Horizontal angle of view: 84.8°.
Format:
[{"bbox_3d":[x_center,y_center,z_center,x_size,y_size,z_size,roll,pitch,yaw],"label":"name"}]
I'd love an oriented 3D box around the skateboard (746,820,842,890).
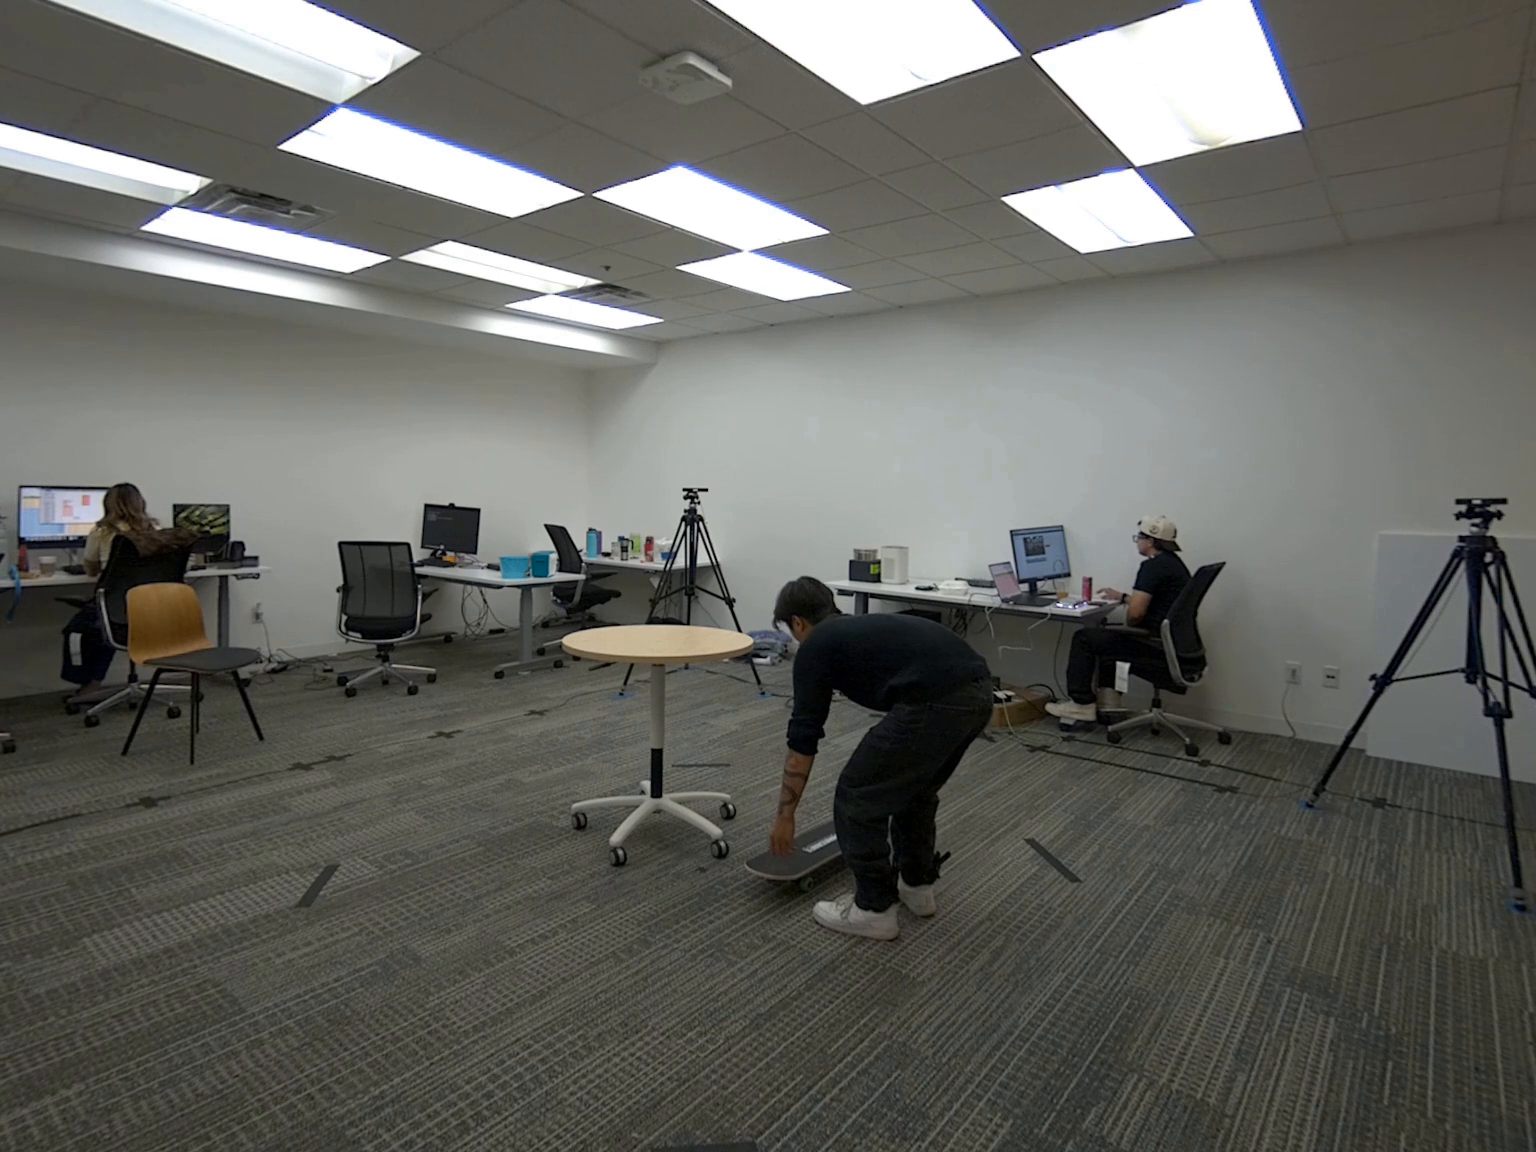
[{"bbox_3d":[0.200,1.021,3.157,0.200,0.110,0.762,6,8,41],"label":"skateboard"}]
